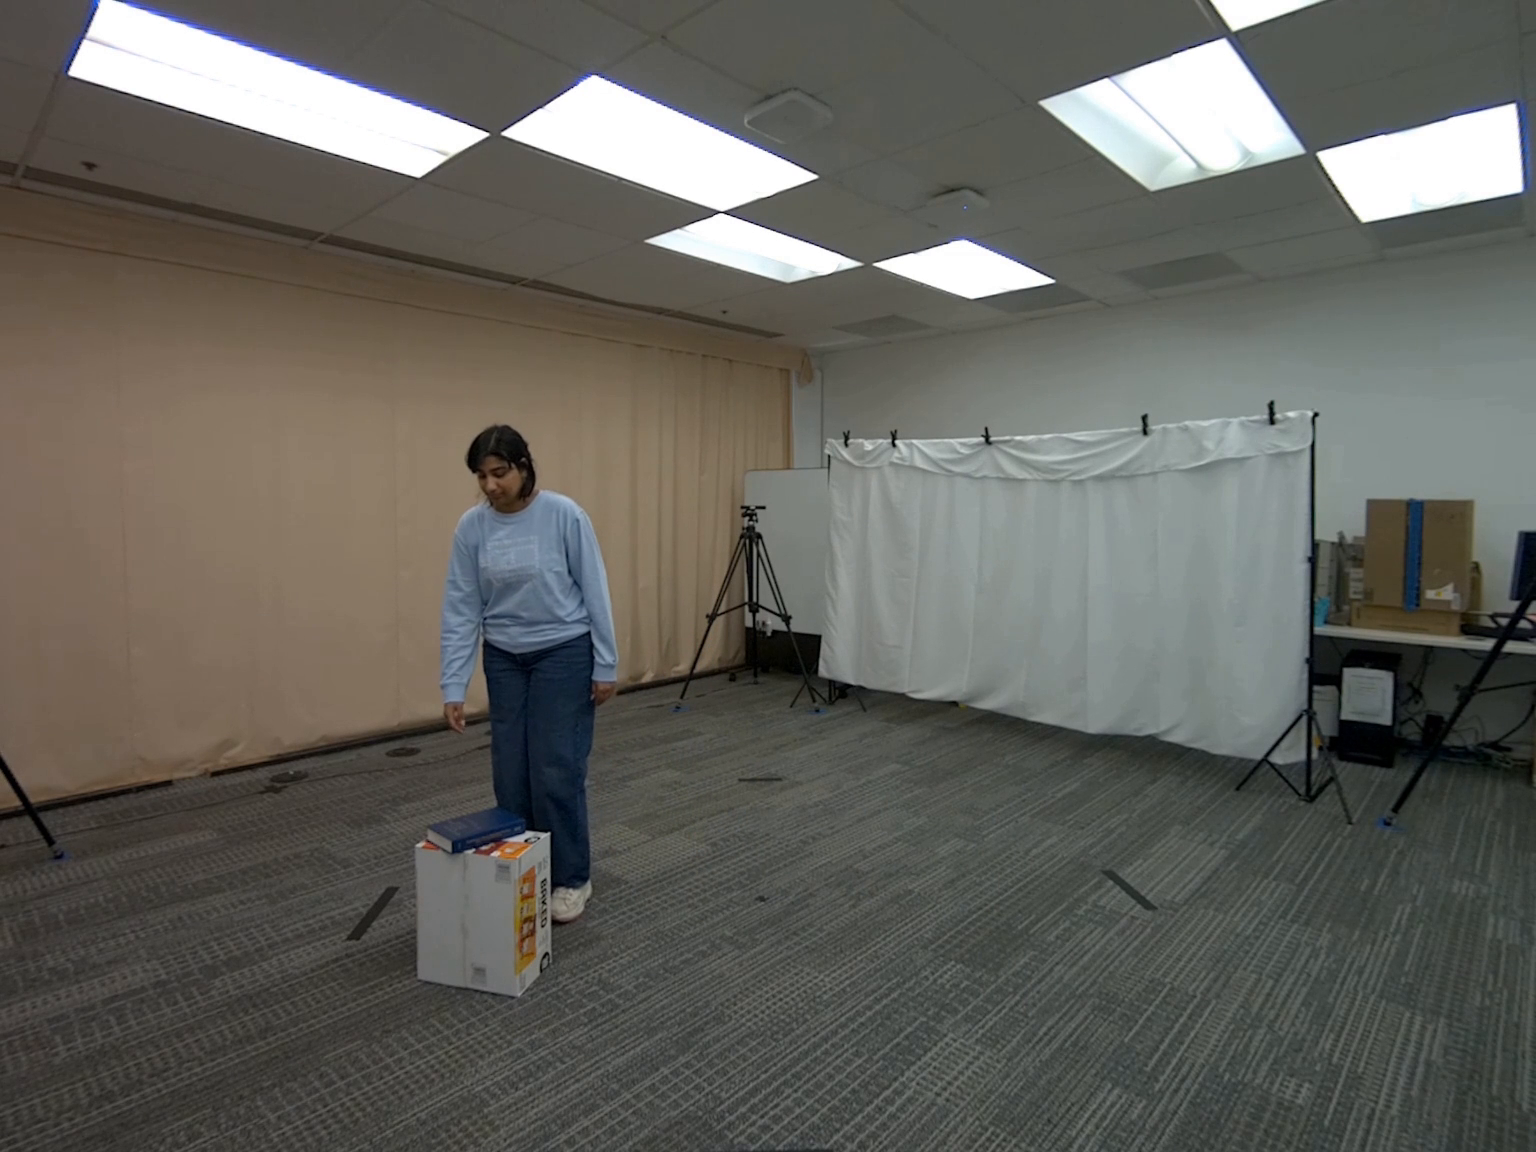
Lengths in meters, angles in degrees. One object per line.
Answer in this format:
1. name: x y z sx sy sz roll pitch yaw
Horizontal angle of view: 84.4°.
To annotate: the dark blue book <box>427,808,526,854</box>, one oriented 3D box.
1. dark blue book: -0.877 0.758 2.535 0.169 0.045 0.237 3 5 42
